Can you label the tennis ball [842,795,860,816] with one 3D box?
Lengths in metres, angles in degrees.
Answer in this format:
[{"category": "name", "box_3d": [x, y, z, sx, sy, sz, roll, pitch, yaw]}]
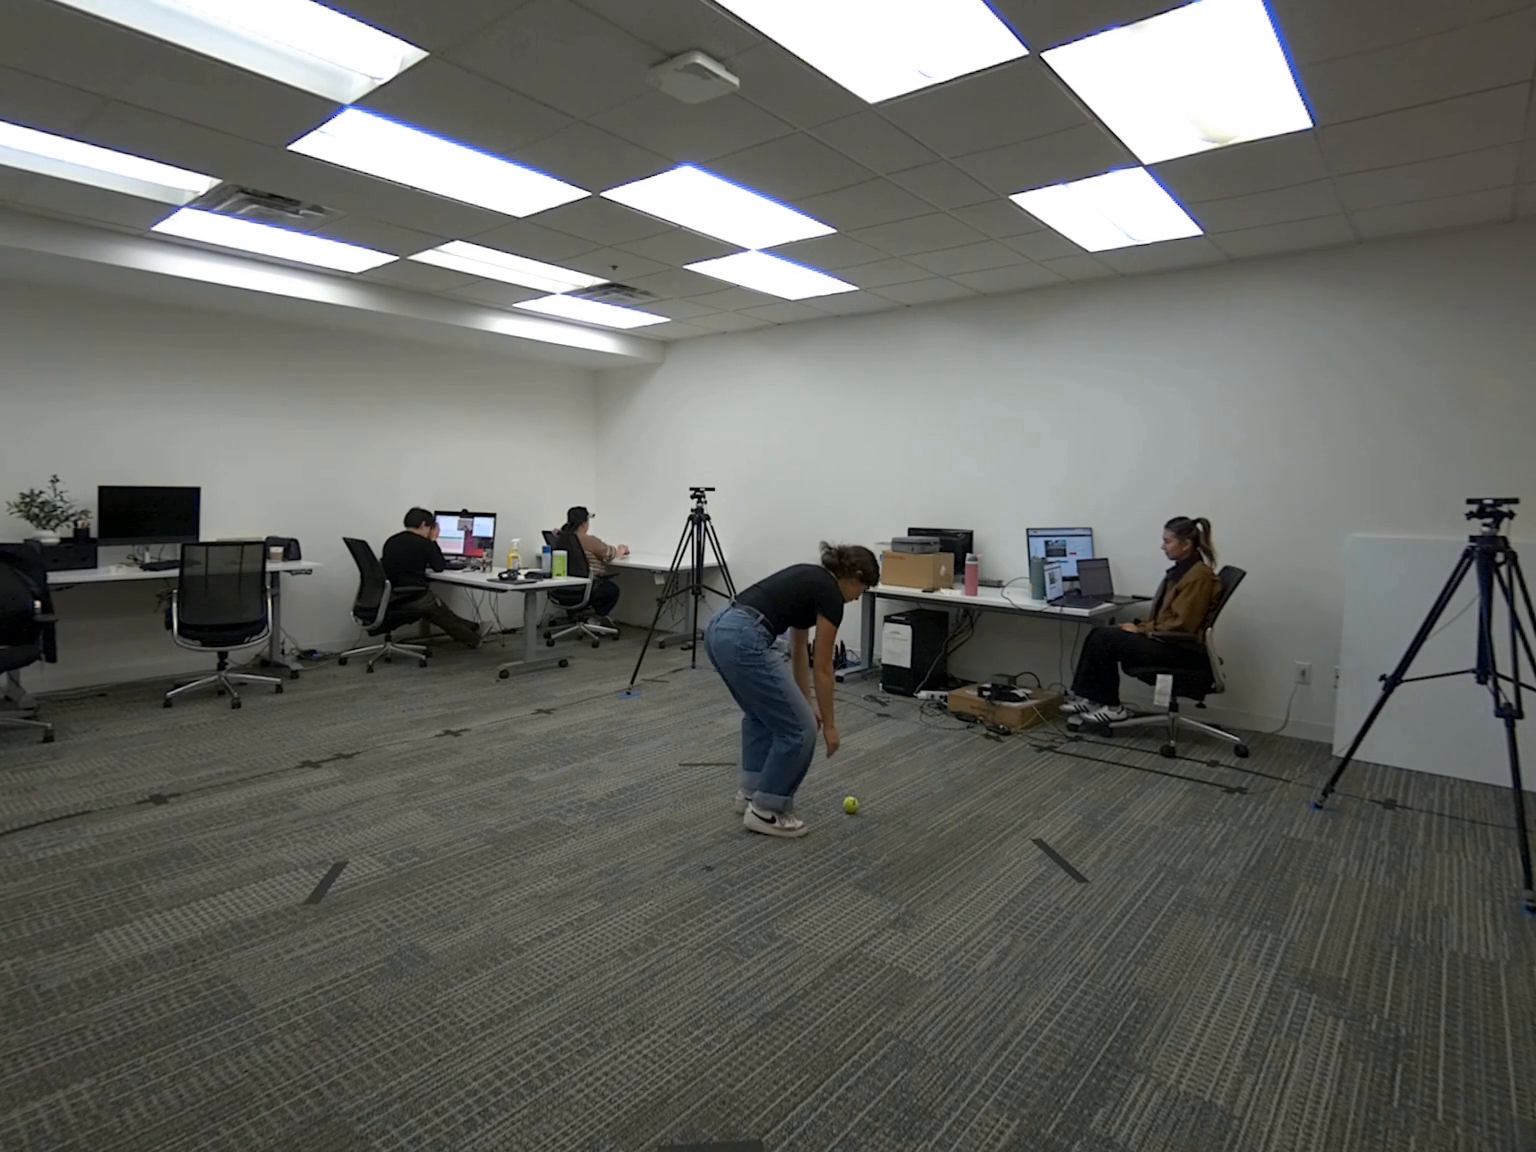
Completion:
[{"category": "tennis ball", "box_3d": [0.344, 0.984, 3.691, 0.066, 0.066, 0.067, 1, 4, -2]}]
